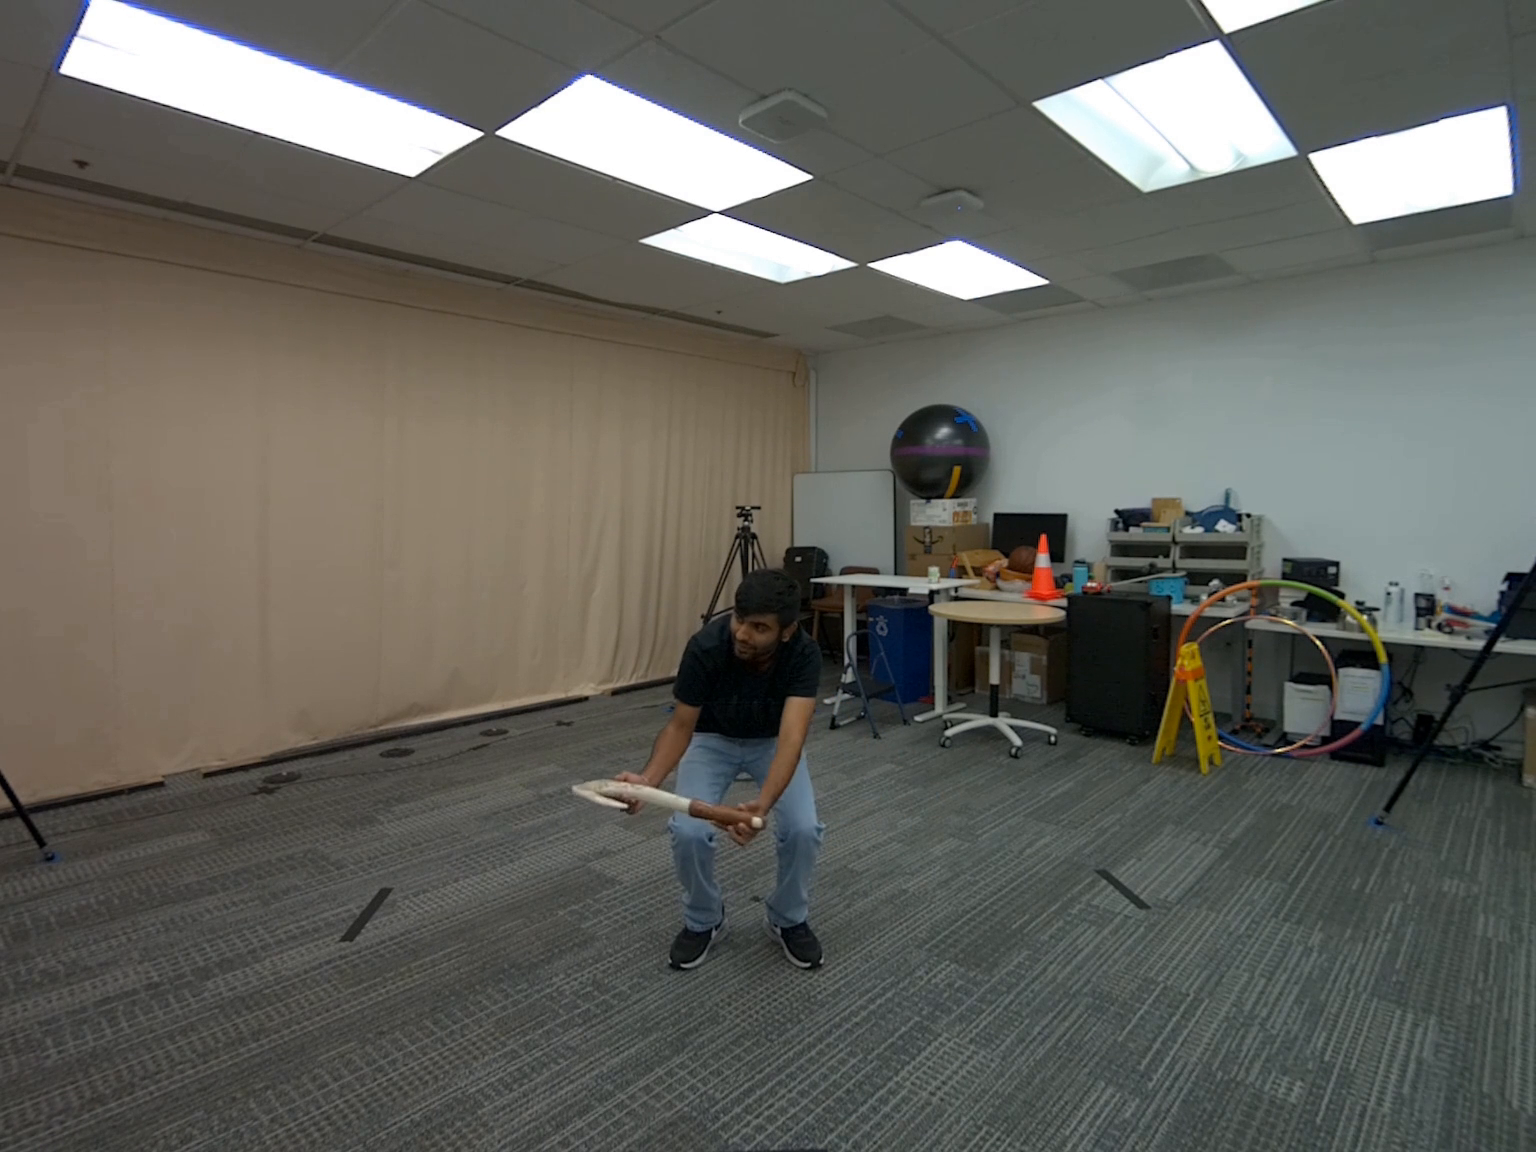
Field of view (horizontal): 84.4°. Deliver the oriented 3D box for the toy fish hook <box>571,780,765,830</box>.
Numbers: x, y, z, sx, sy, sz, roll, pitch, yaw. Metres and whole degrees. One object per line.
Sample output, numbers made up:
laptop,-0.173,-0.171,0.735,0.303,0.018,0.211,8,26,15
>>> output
toy fish hook,-0.237,0.576,2.091,0.520,0.048,0.218,4,-2,26
